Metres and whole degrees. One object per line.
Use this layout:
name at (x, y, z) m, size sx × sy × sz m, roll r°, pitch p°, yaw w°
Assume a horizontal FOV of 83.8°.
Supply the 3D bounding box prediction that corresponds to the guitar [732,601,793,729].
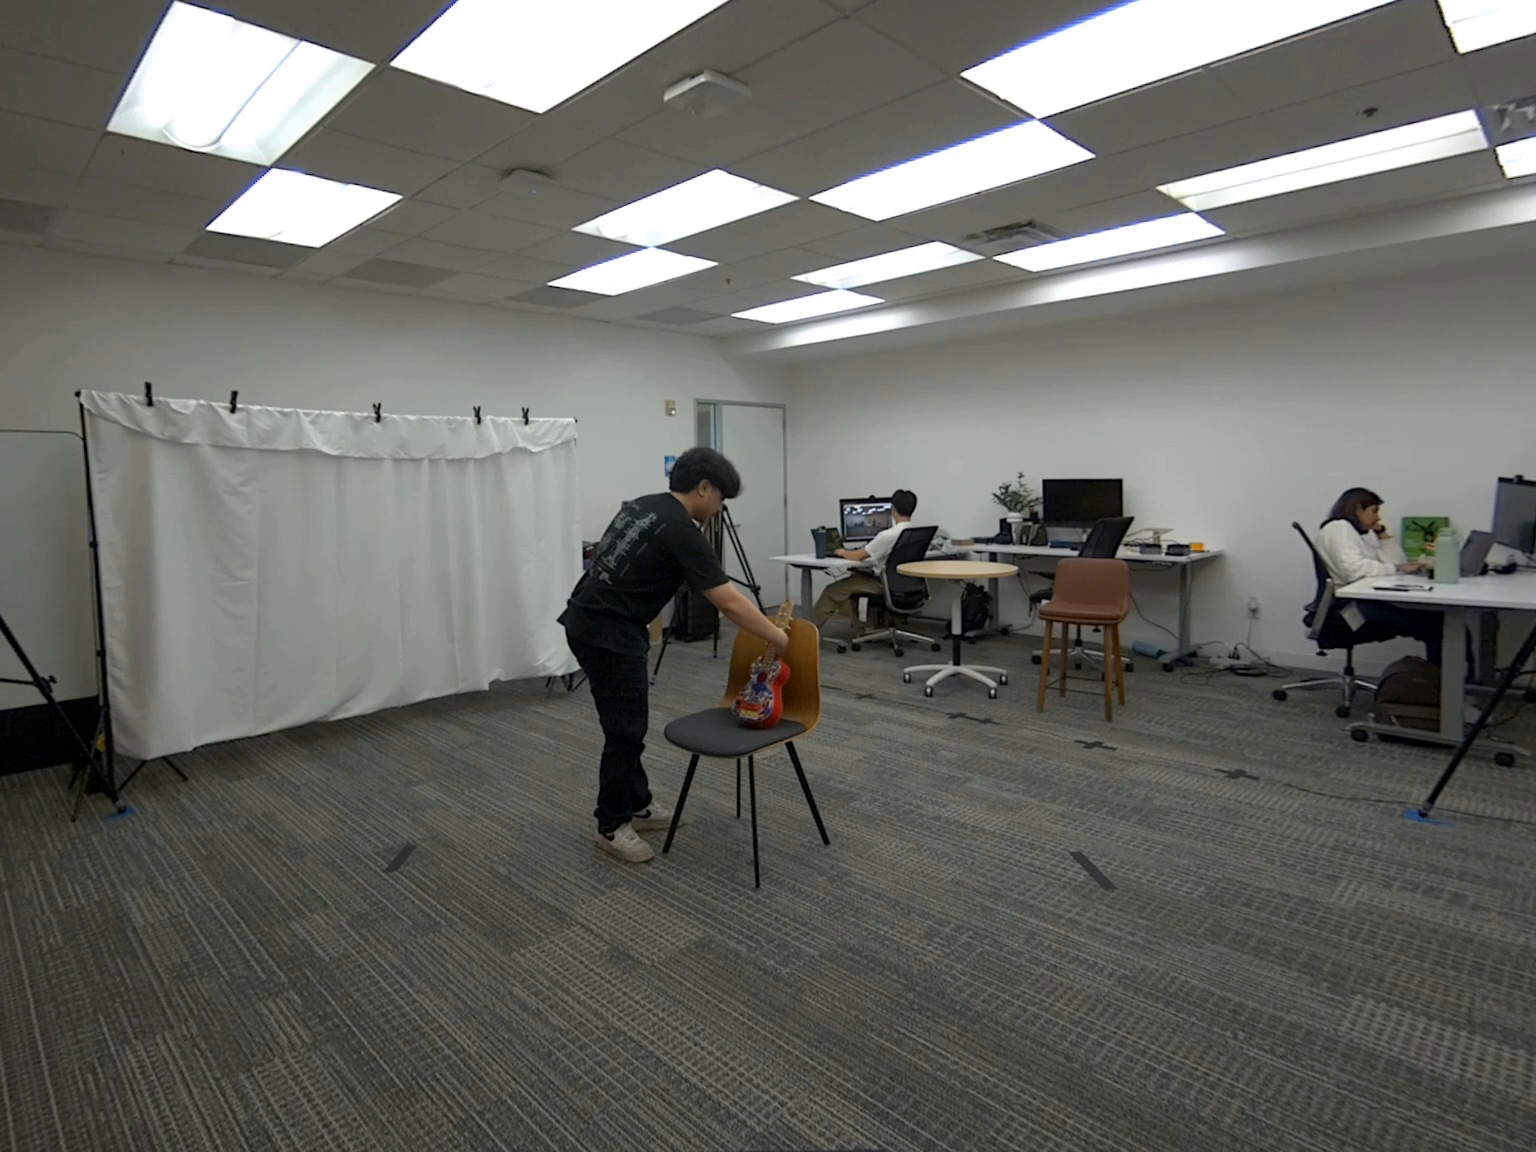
guitar at (0.027, 0.332, 3.230) m, size 0.199 × 0.501 × 0.068 m, roll 10°, pitch -23°, yaw 44°
